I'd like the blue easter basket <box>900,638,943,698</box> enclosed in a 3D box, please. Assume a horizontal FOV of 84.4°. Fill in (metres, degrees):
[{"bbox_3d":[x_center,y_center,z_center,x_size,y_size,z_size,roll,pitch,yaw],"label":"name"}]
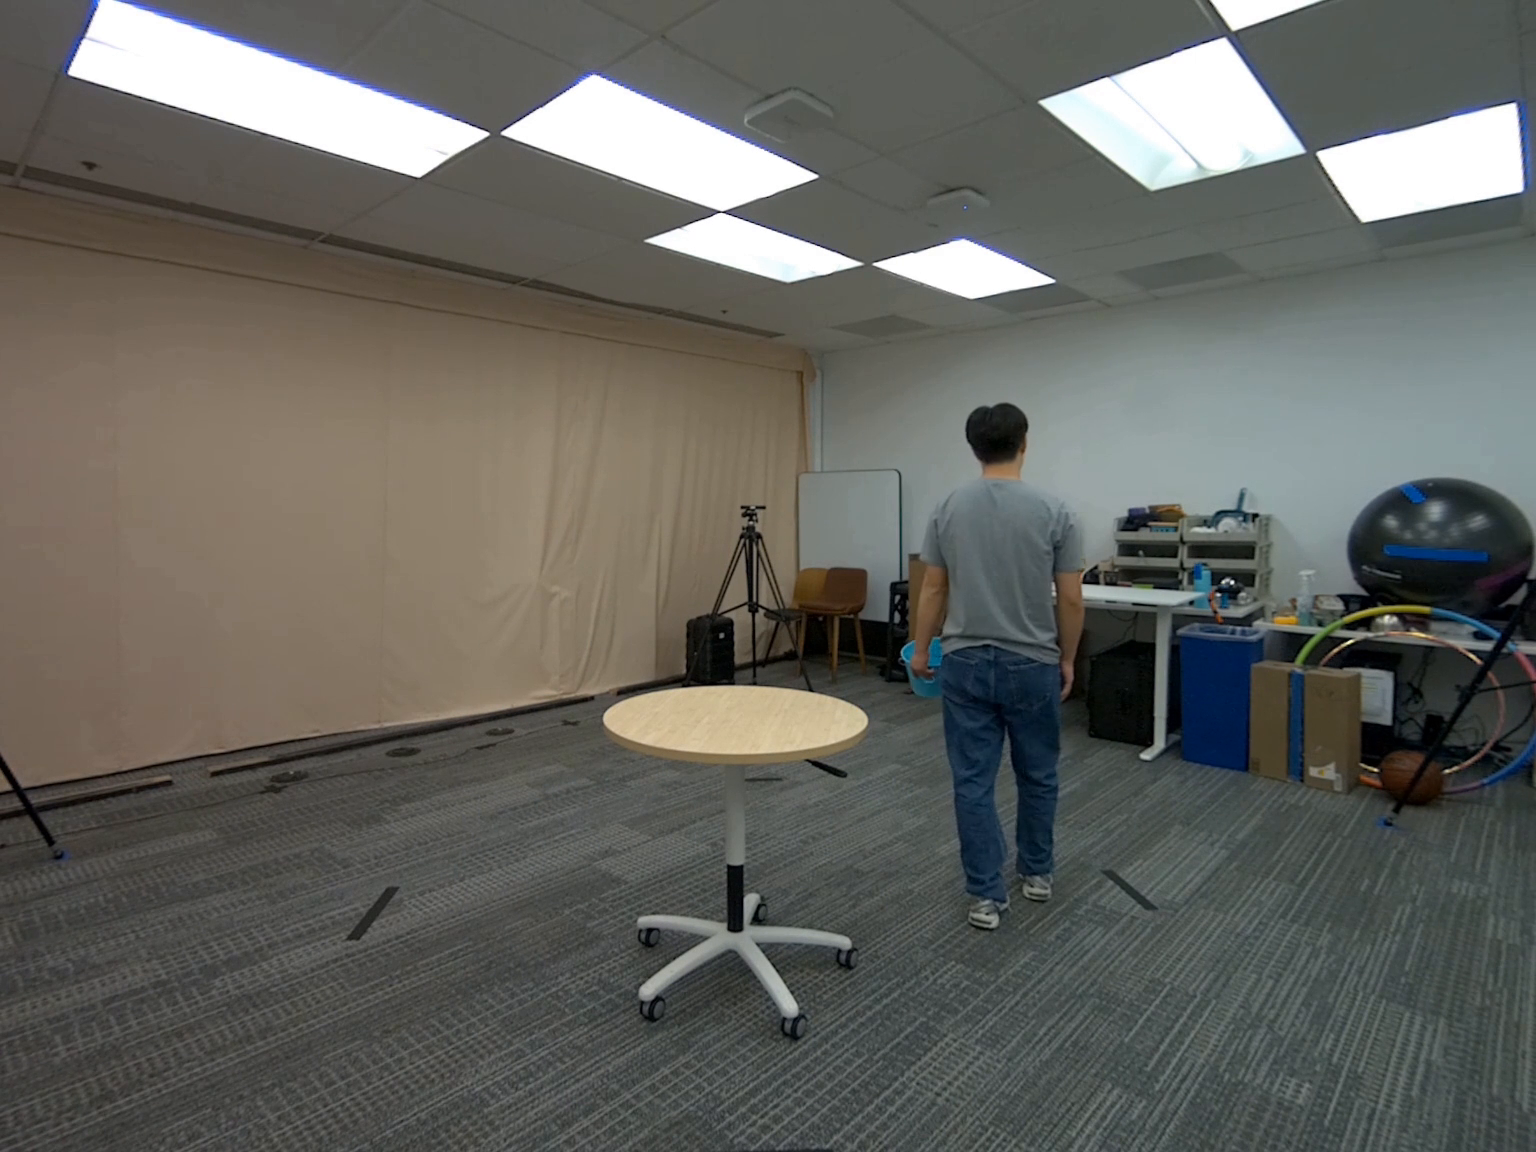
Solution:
[{"bbox_3d":[0.654,0.366,3.265,0.244,0.153,0.247,-9,20,1],"label":"blue easter basket"}]
